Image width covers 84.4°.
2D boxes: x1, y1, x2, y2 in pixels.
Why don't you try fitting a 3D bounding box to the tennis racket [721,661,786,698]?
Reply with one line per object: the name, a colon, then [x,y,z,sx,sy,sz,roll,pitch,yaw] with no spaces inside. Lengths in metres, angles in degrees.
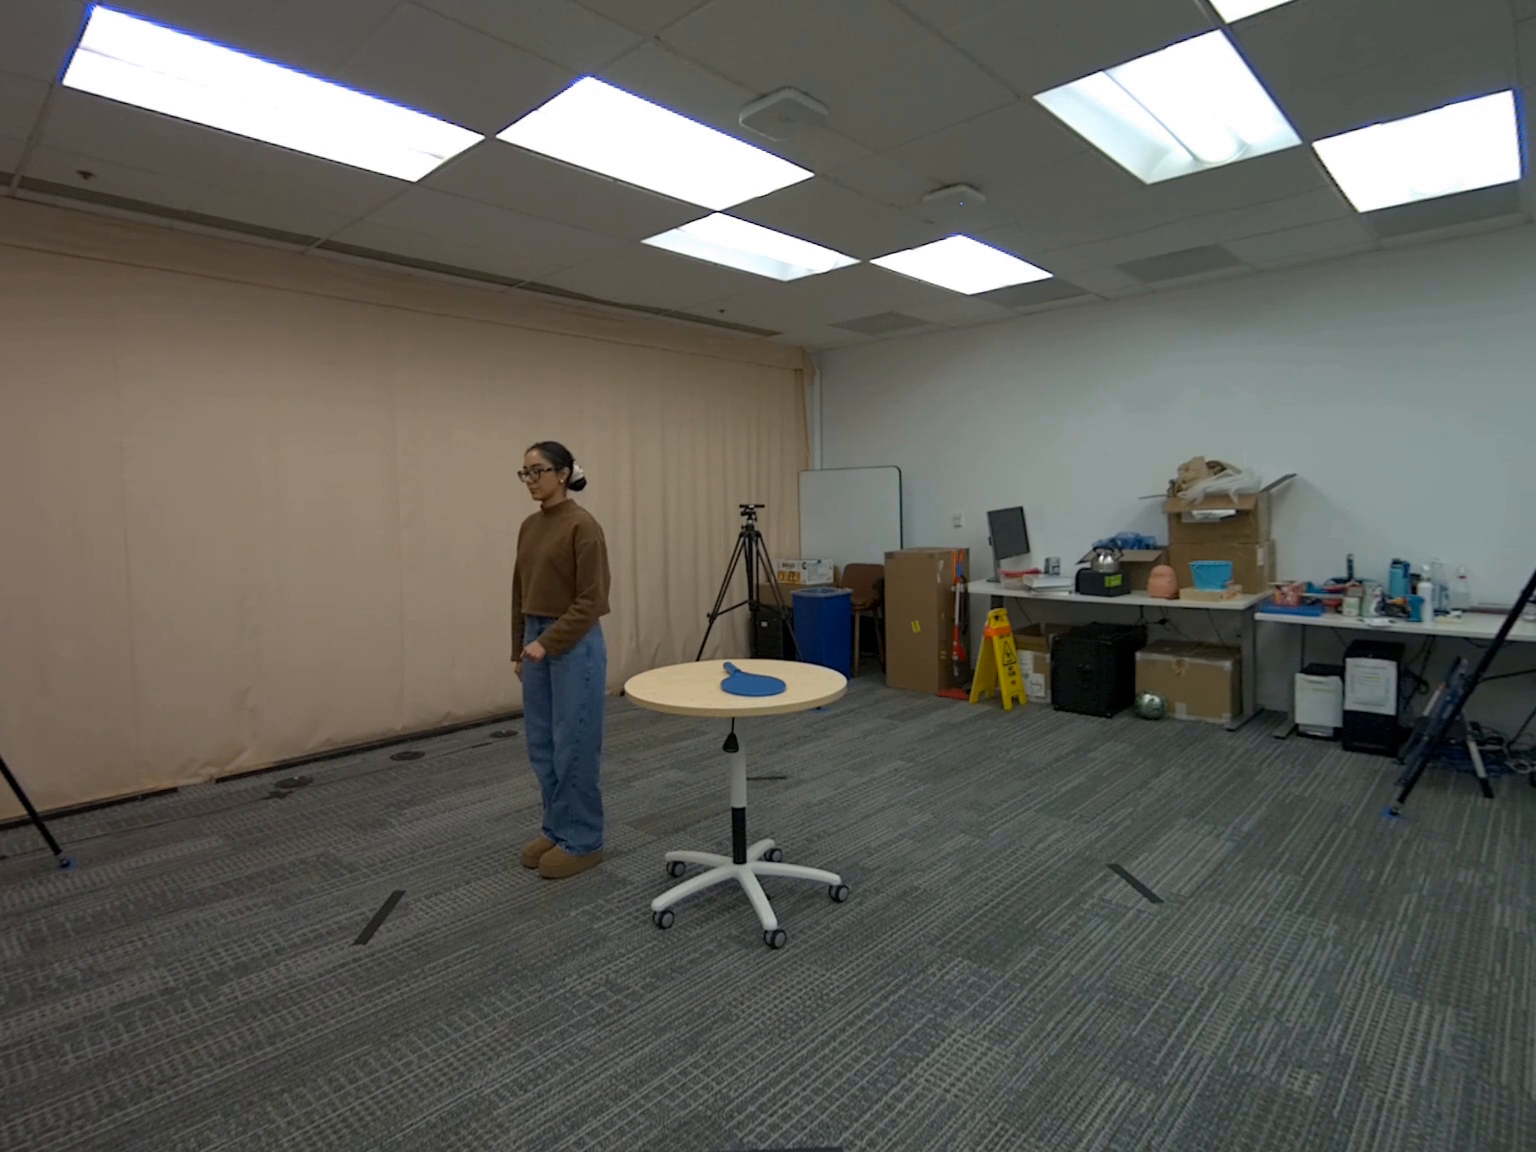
tennis racket: [-0.069,0.356,2.880,0.211,0.031,0.440,-3,7,-15]
